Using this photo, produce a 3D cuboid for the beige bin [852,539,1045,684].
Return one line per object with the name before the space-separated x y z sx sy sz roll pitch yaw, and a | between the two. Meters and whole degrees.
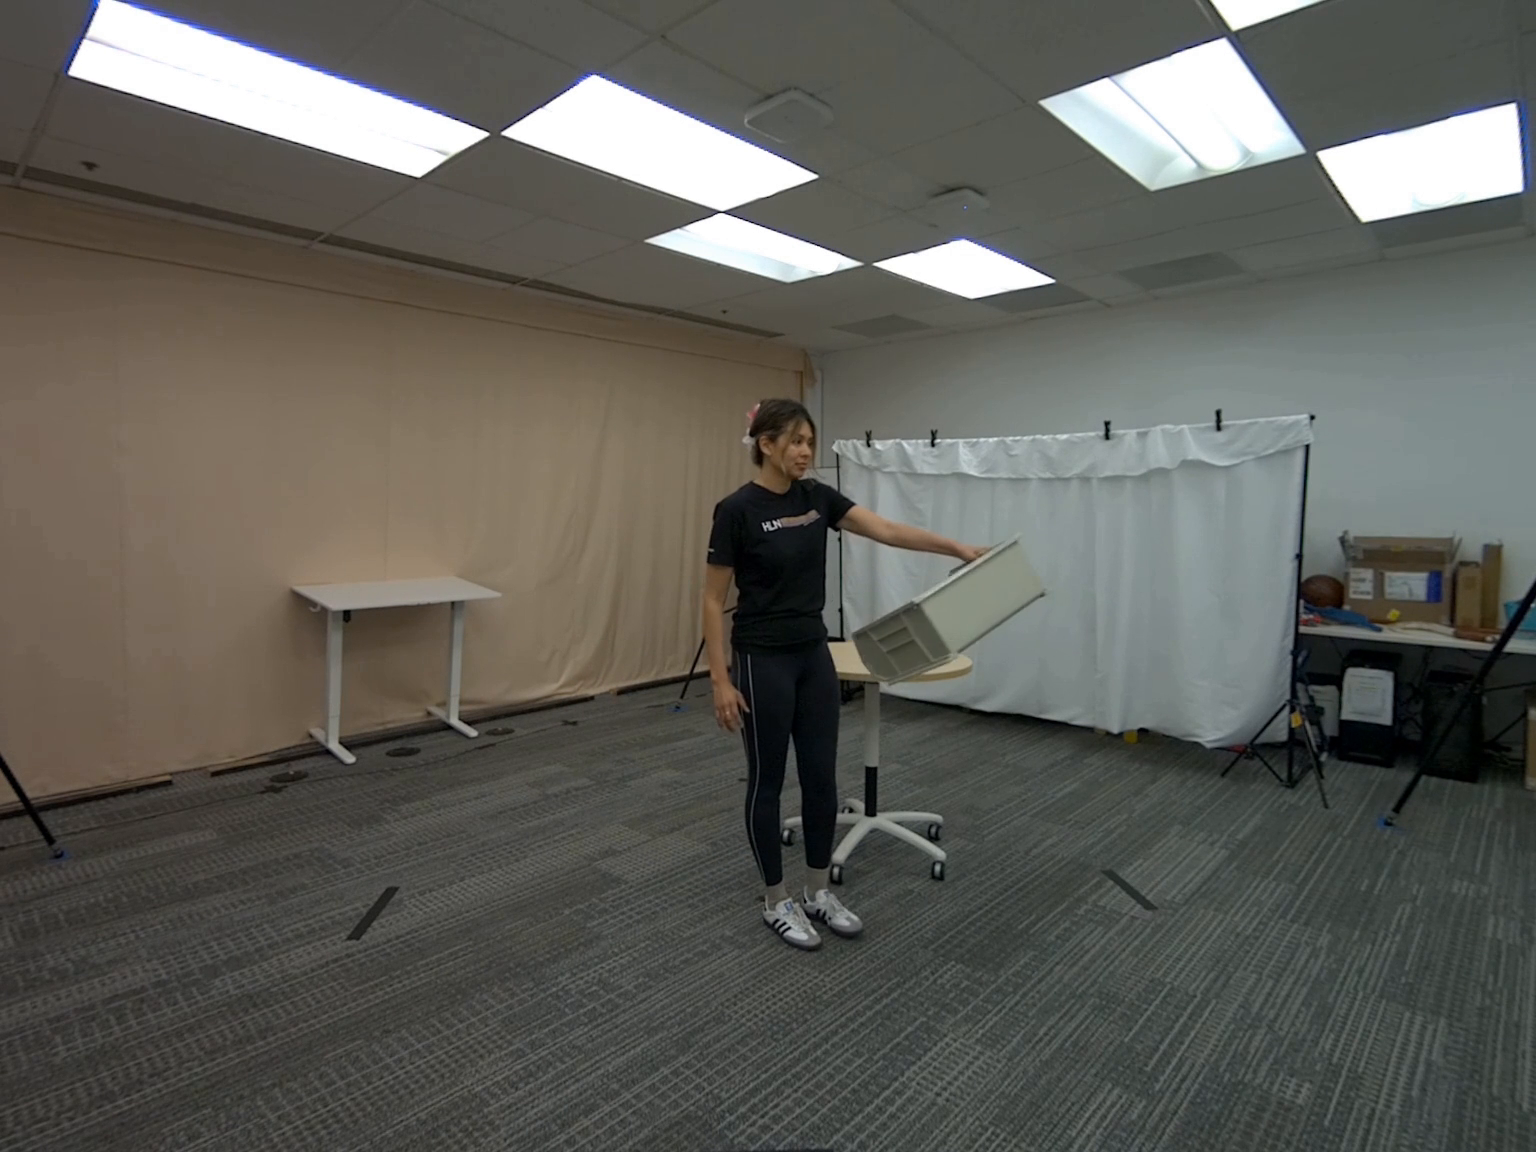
beige bin | 0.507 0.106 2.350 0.415 0.190 0.381 -27 -4 -27
